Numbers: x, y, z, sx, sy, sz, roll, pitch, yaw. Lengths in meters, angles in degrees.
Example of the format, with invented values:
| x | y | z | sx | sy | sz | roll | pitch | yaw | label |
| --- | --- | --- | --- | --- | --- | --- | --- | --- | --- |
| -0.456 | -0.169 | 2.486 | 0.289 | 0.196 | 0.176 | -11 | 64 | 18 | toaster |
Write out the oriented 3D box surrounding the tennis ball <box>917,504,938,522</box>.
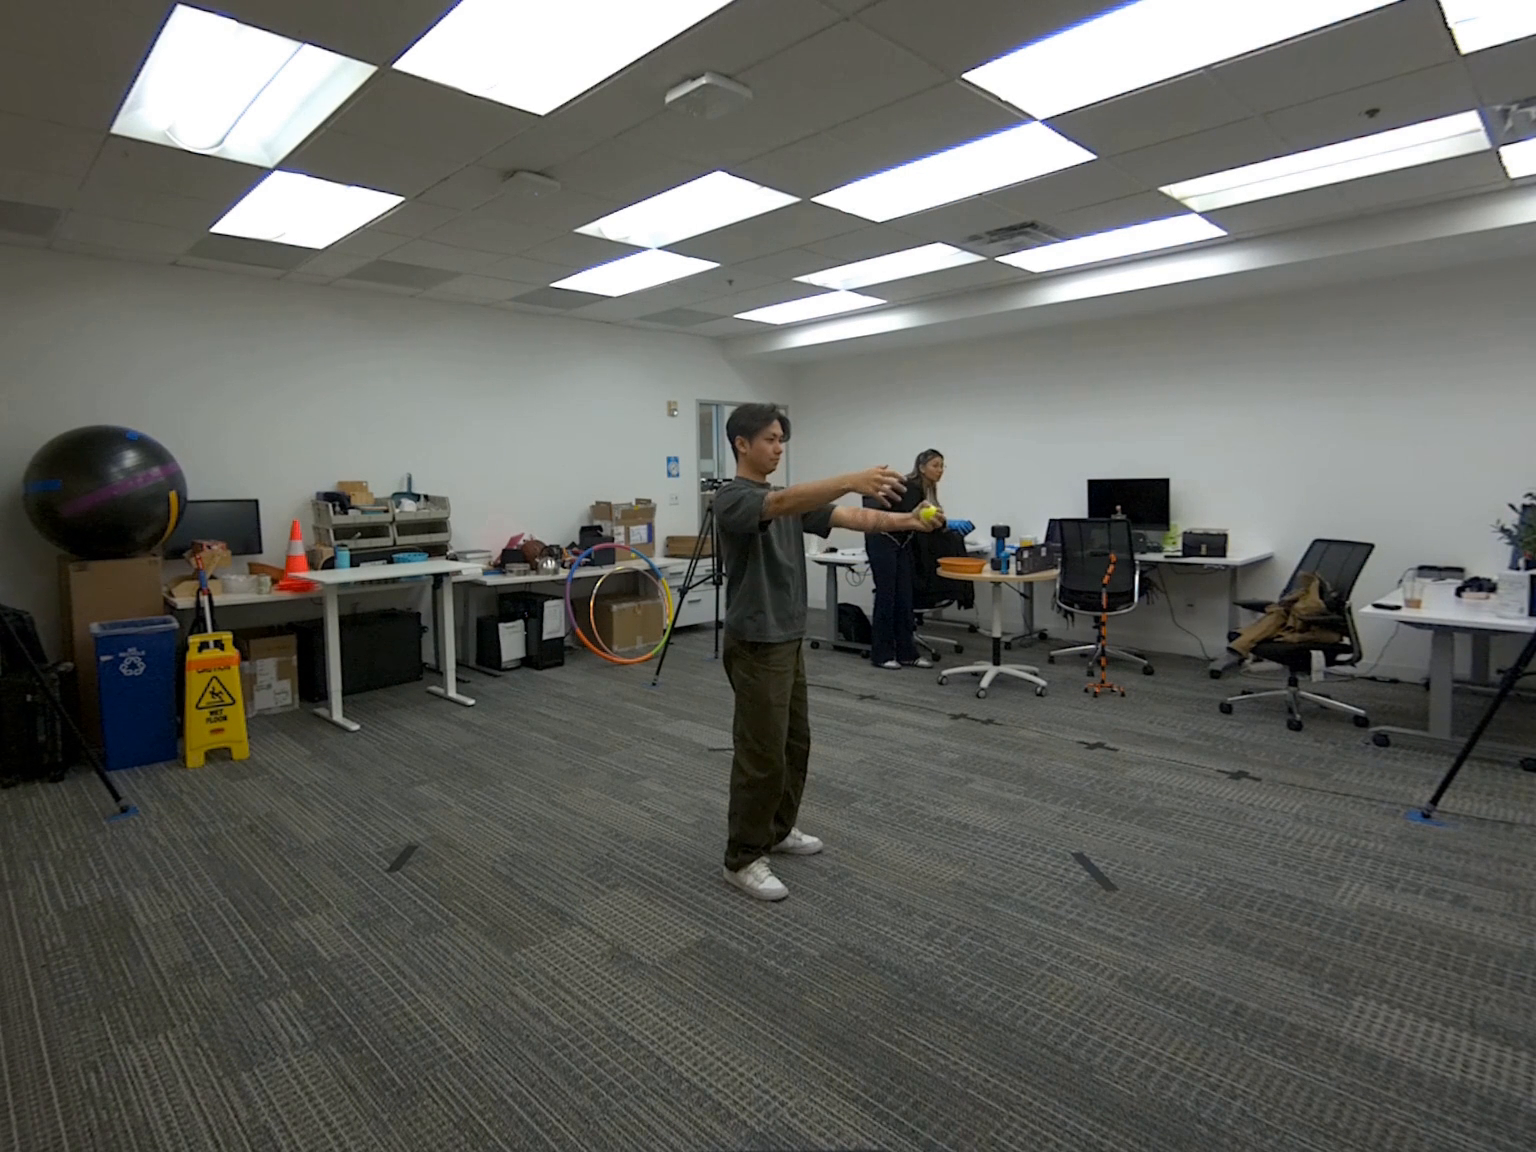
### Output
| x | y | z | sx | sy | sz | roll | pitch | yaw | label |
| --- | --- | --- | --- | --- | --- | --- | --- | --- | --- |
| 0.527 | -0.199 | 2.922 | 0.066 | 0.066 | 0.067 | -1 | 5 | -2 | tennis ball |
